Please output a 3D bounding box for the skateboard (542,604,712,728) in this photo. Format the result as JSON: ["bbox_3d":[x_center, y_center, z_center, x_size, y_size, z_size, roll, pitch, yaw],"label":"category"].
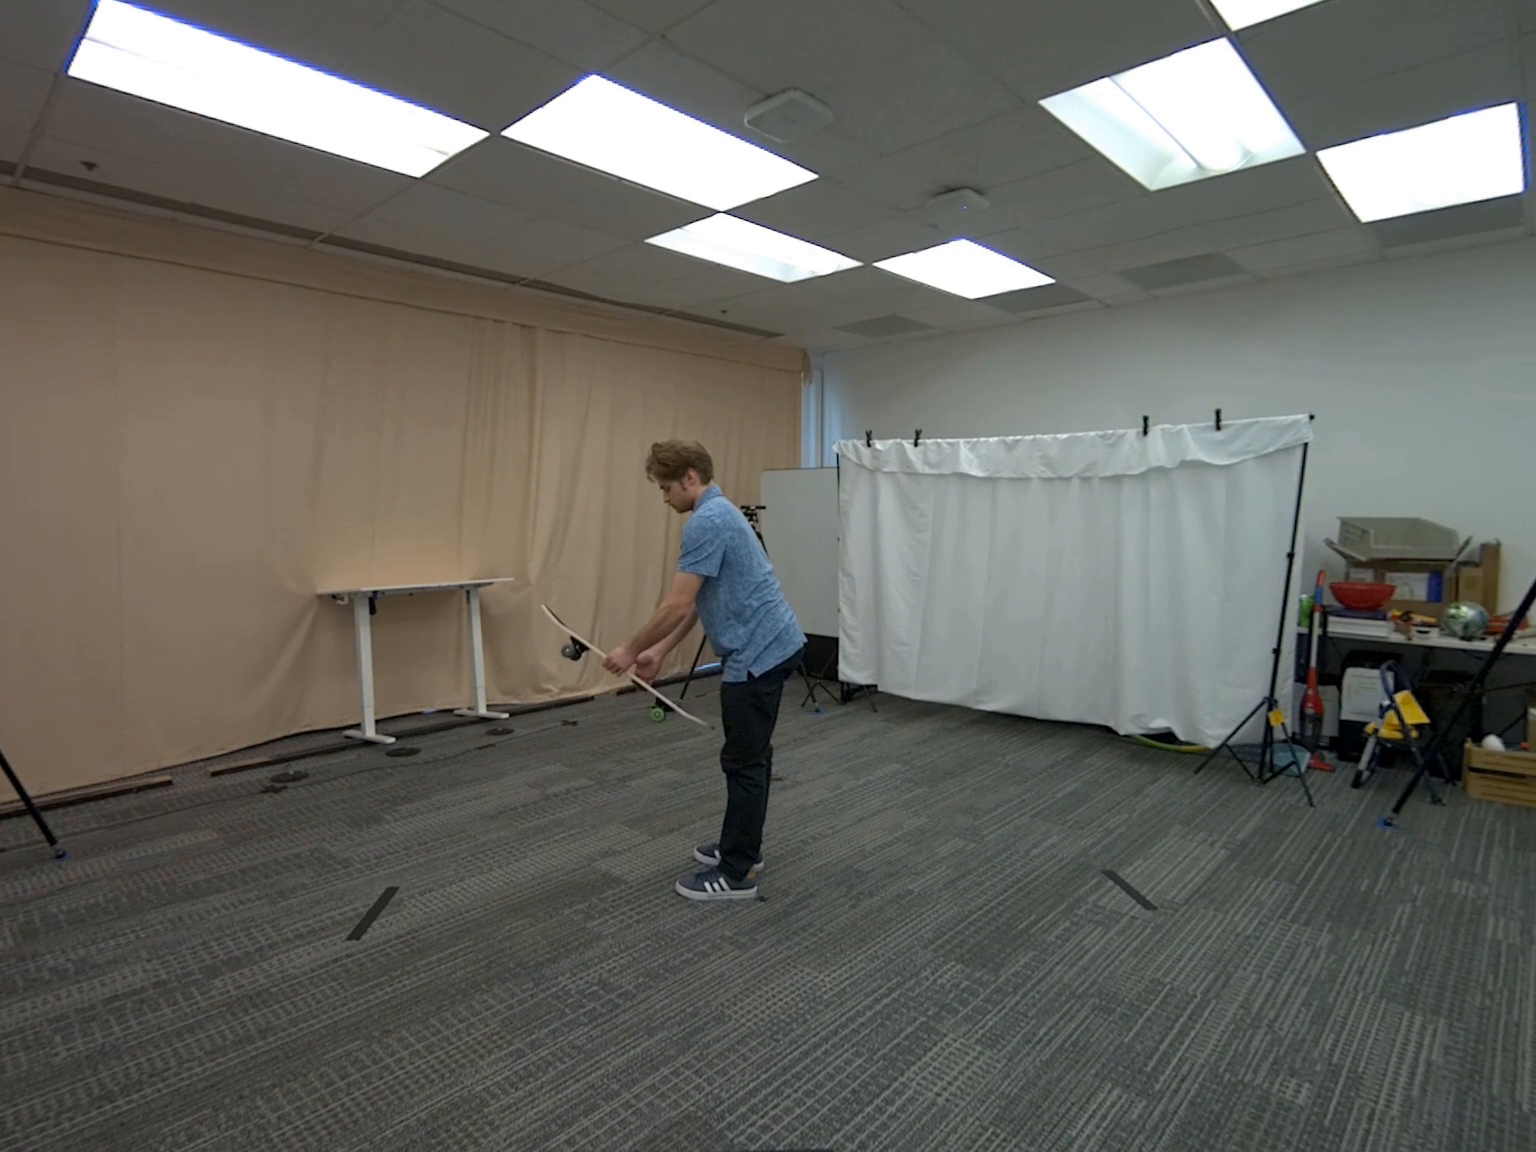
[{"bbox_3d":[-0.546,0.382,3.122,0.791,0.110,0.192,34,-12,6],"label":"skateboard"}]
